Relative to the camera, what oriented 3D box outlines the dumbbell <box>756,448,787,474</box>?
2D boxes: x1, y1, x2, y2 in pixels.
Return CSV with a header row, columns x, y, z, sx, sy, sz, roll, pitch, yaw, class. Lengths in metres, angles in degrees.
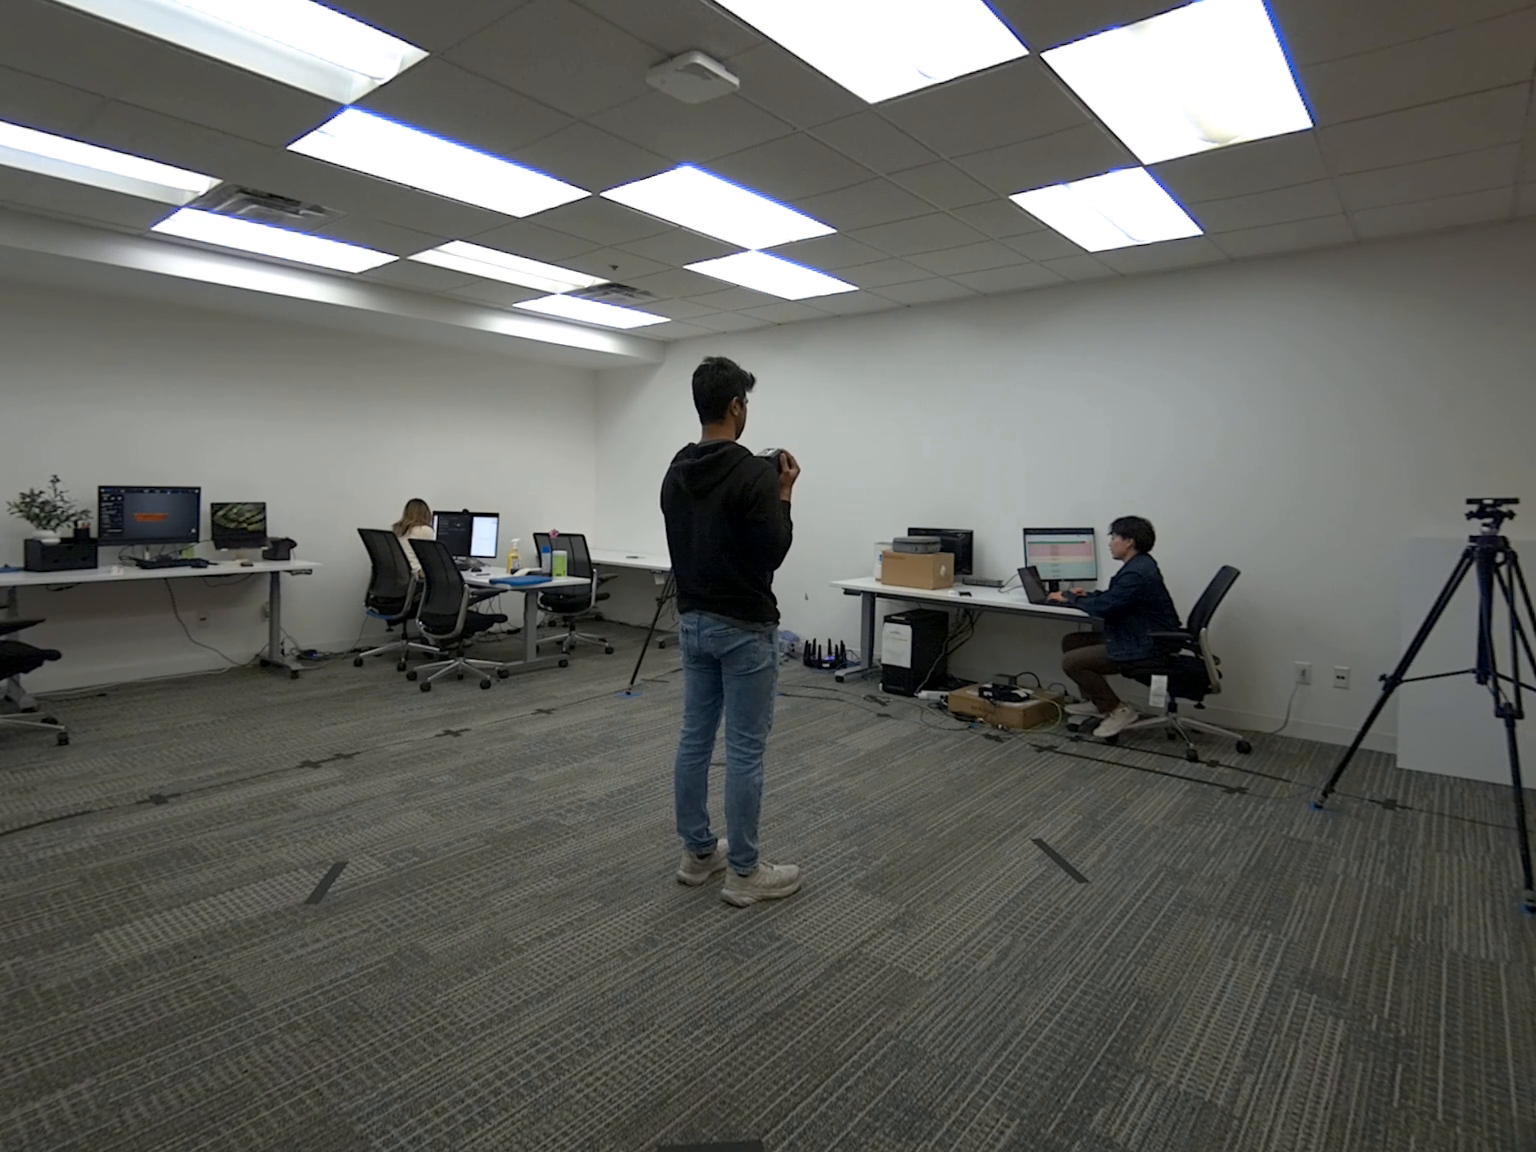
x,y,z,sx,sy,sz,roll,pitch,yaw,class
-0.087,-0.385,2.987,0.304,0.105,0.122,8,36,39,dumbbell
